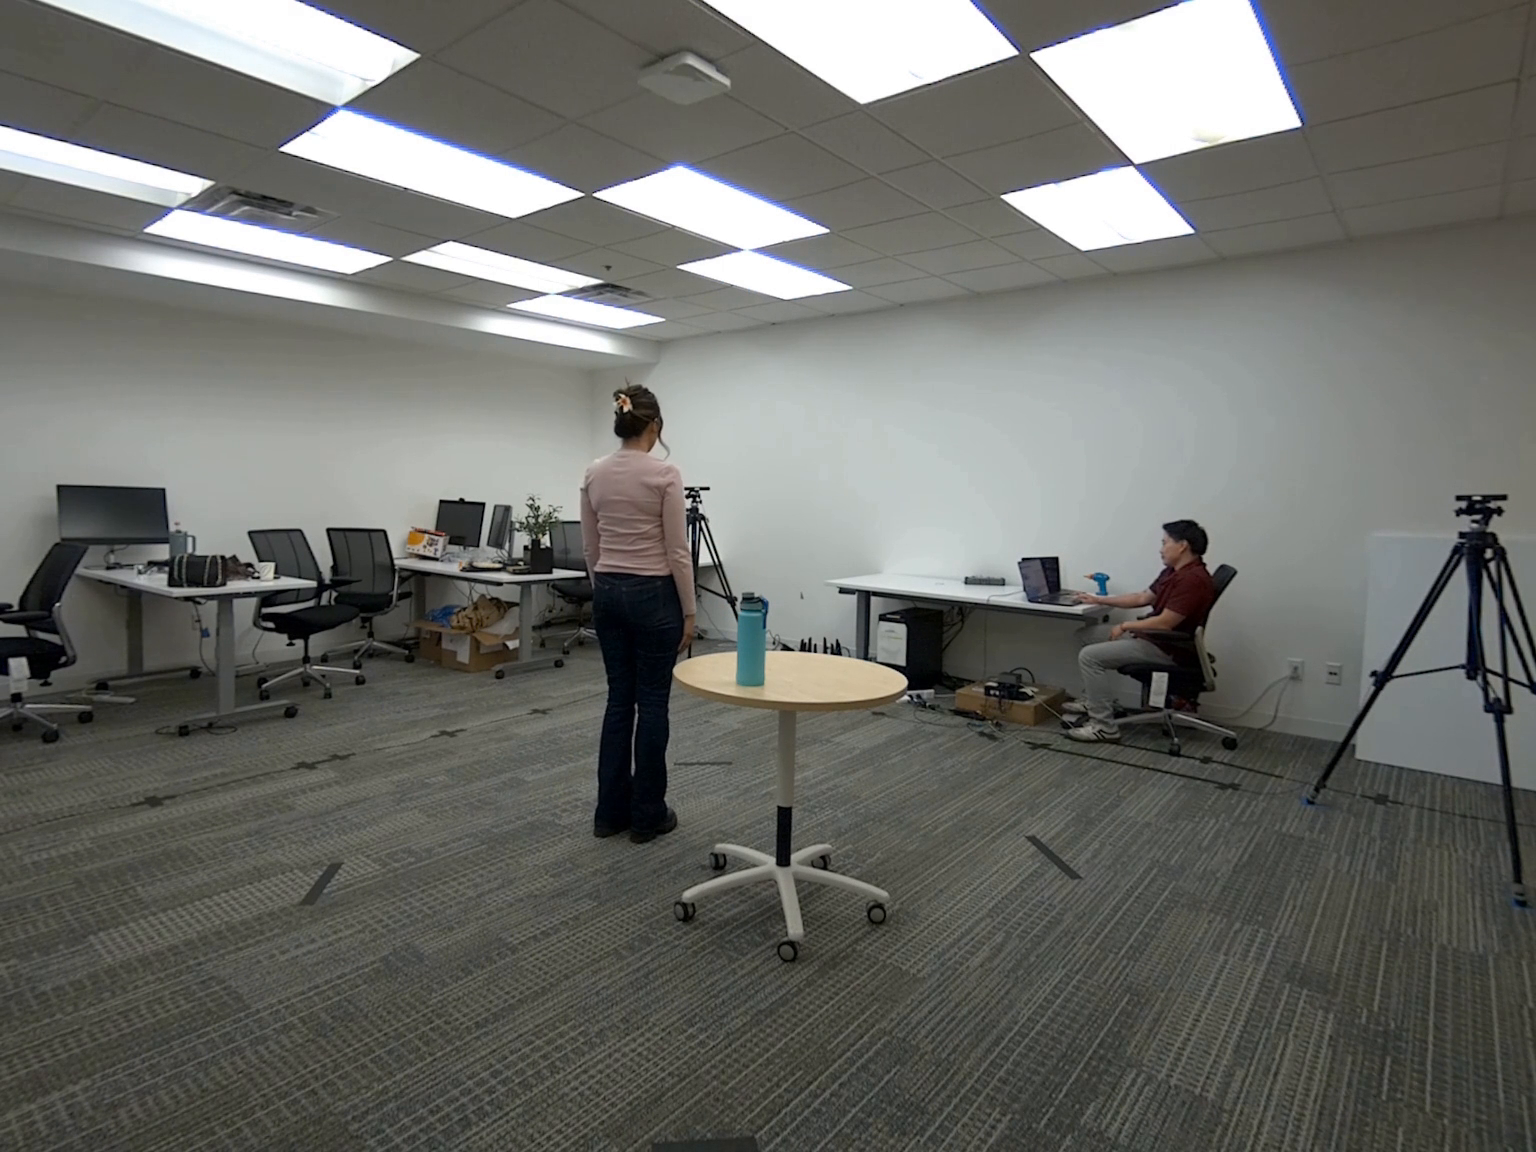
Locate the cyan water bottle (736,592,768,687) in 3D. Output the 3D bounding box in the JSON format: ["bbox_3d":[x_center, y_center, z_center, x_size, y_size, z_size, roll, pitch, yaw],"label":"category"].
[{"bbox_3d":[-0.052,0.192,2.628,0.092,0.282,0.093,2,3,-2],"label":"cyan water bottle"}]
